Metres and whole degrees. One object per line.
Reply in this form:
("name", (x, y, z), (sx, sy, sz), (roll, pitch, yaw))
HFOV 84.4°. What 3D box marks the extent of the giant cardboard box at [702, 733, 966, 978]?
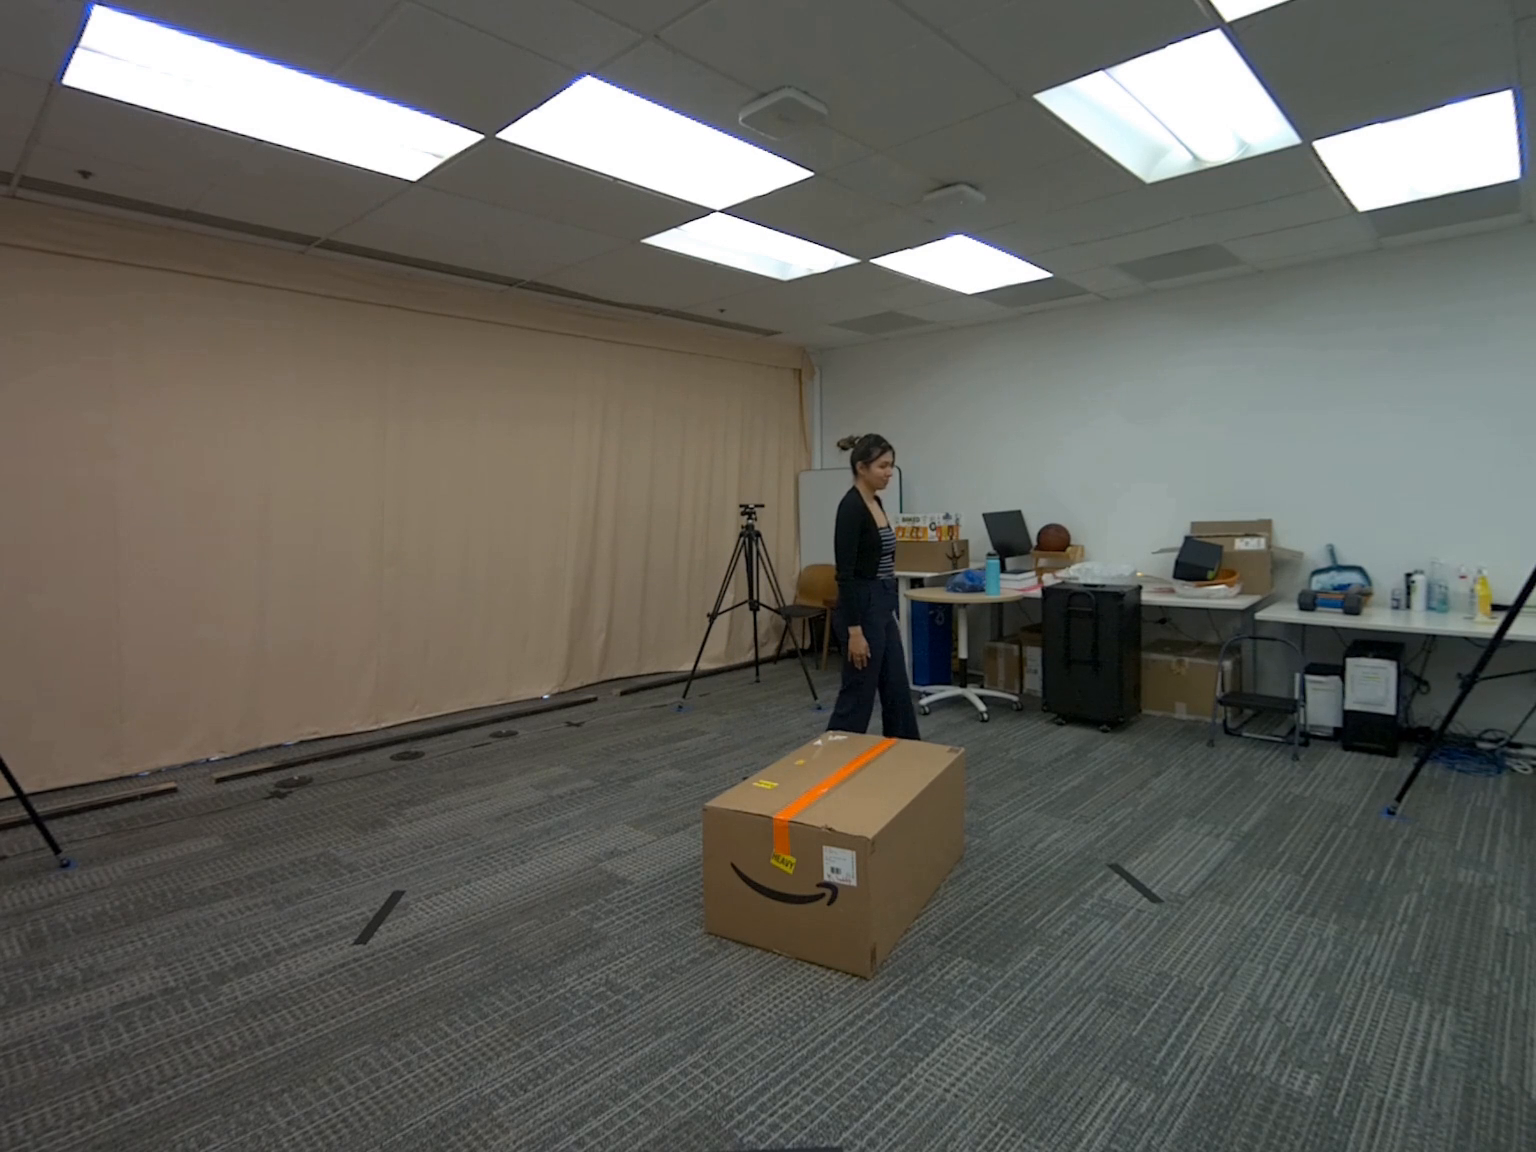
("giant cardboard box", (0.281, 0.919, 3.016), (0.594, 0.425, 0.999), (2, 5, 29))
